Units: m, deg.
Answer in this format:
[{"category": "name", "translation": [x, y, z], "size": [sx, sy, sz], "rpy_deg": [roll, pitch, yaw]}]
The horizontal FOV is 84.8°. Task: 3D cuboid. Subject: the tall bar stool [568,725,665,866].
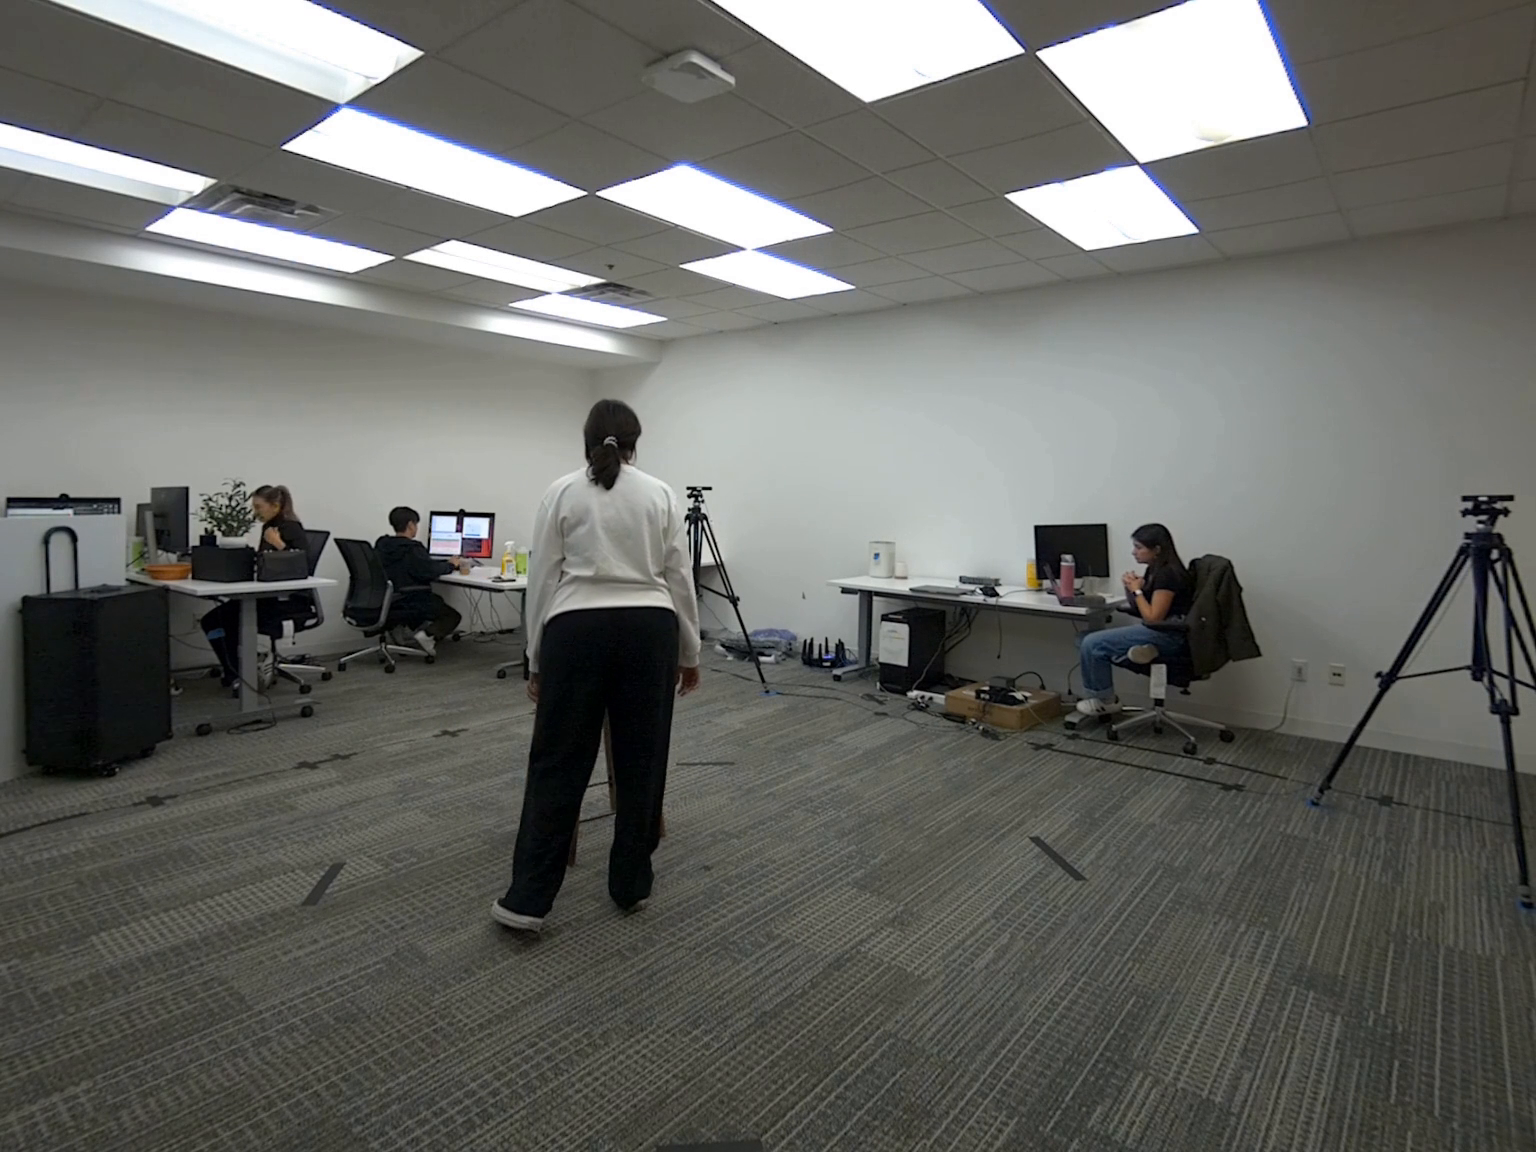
[{"category": "tall bar stool", "translation": [-0.683, 0.596, 3.373], "size": [0.453, 0.888, 0.472], "rpy_deg": [1, 3, -41]}]
